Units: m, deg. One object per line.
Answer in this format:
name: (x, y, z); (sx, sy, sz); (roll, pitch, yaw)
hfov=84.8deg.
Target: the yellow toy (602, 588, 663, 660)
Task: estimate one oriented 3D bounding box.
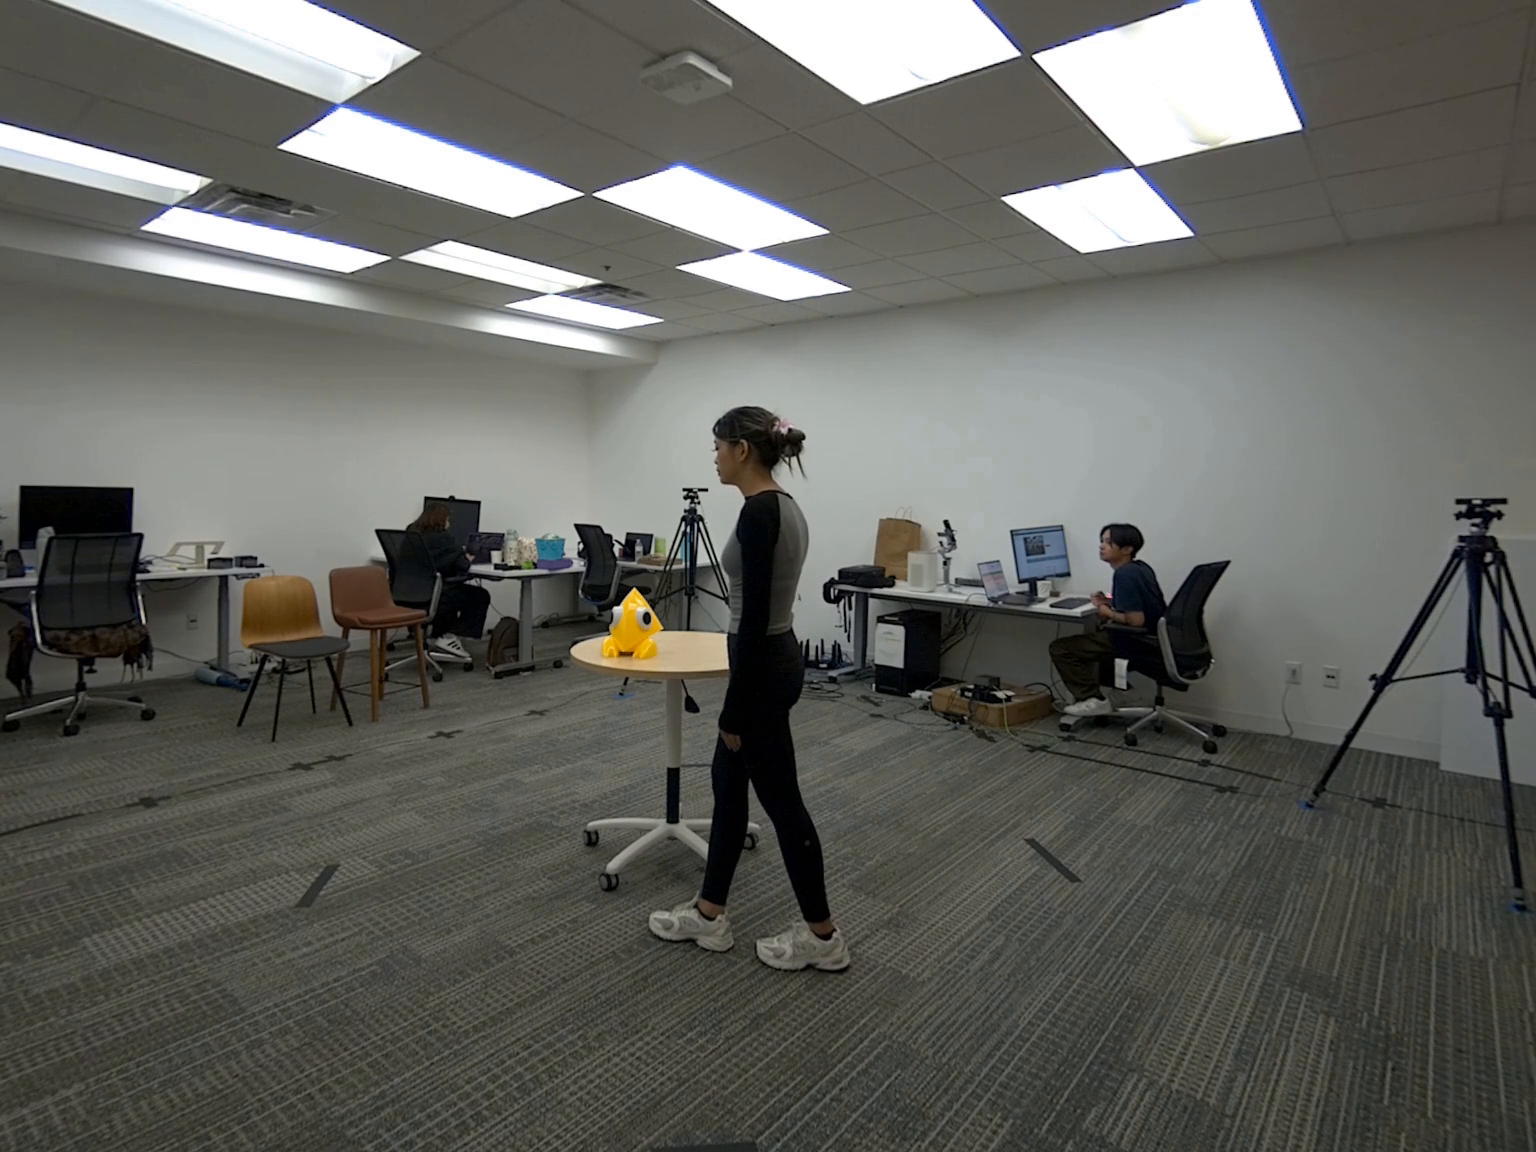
yellow toy: (-0.505, 0.162, 3.066); (0.207, 0.230, 0.192); (2, 4, 8)
